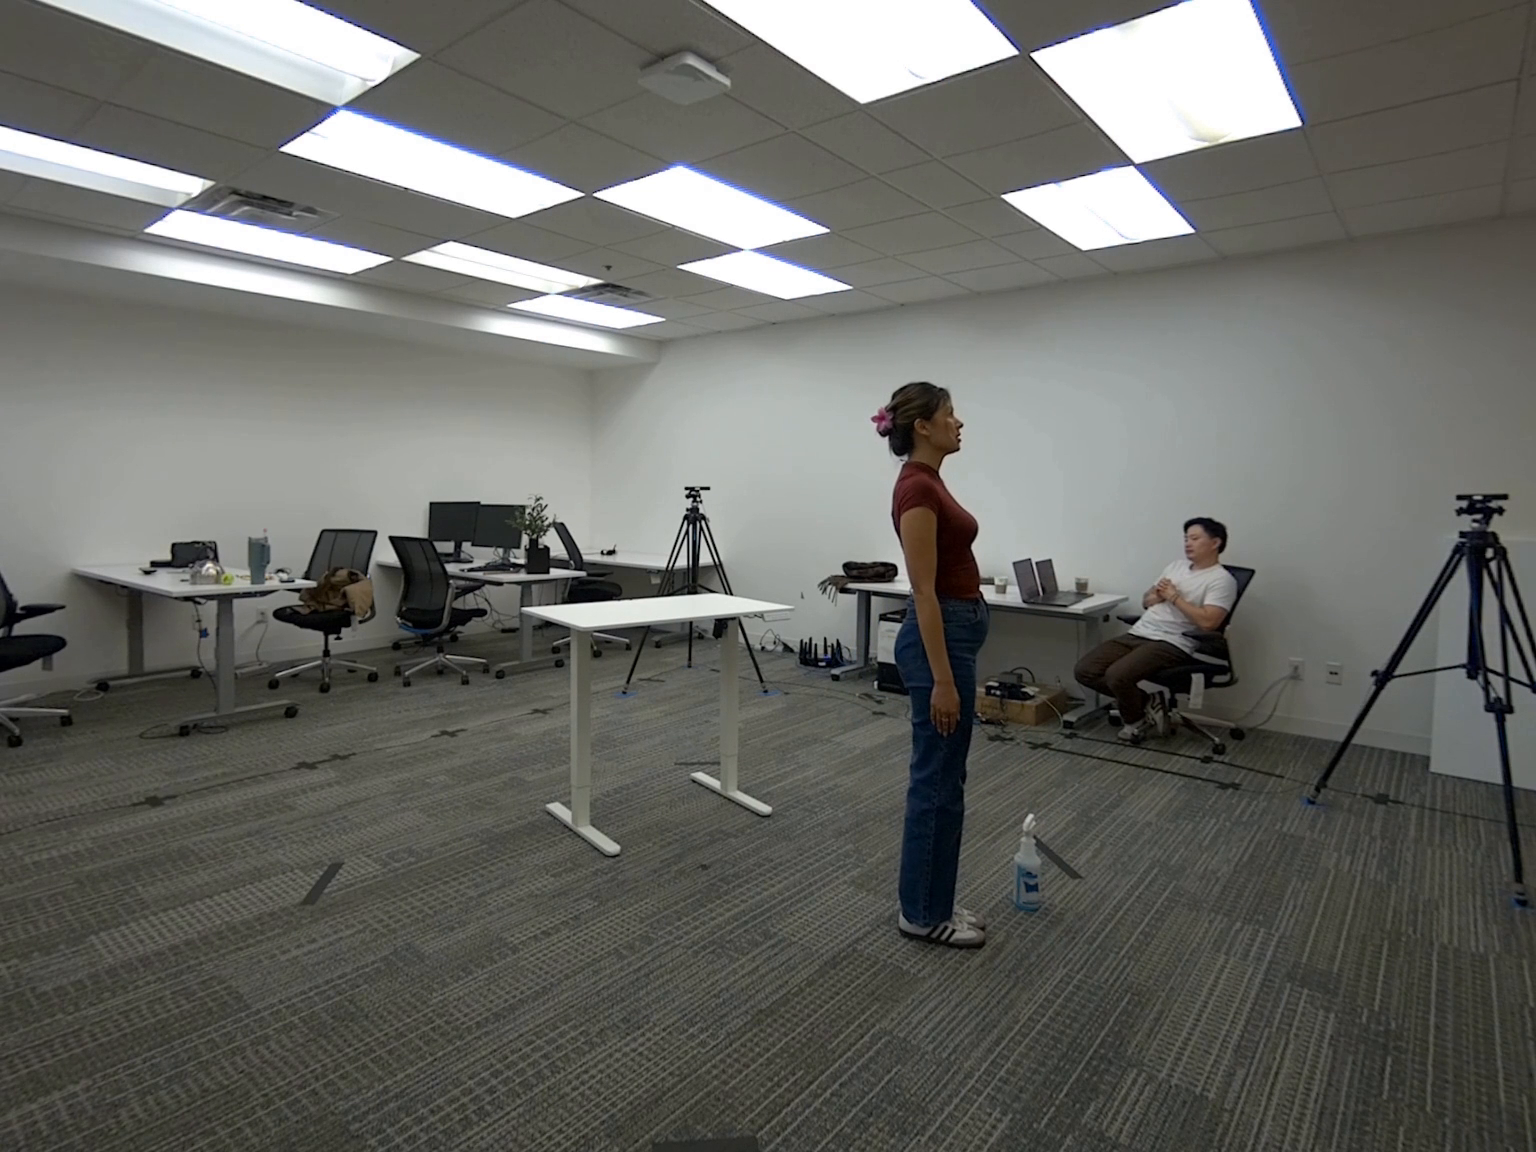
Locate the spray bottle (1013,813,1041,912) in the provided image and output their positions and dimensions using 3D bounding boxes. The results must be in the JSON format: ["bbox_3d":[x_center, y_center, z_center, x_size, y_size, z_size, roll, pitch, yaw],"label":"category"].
[{"bbox_3d":[0.867,0.960,2.879,0.087,0.297,0.089,-1,3,-31],"label":"spray bottle"}]
